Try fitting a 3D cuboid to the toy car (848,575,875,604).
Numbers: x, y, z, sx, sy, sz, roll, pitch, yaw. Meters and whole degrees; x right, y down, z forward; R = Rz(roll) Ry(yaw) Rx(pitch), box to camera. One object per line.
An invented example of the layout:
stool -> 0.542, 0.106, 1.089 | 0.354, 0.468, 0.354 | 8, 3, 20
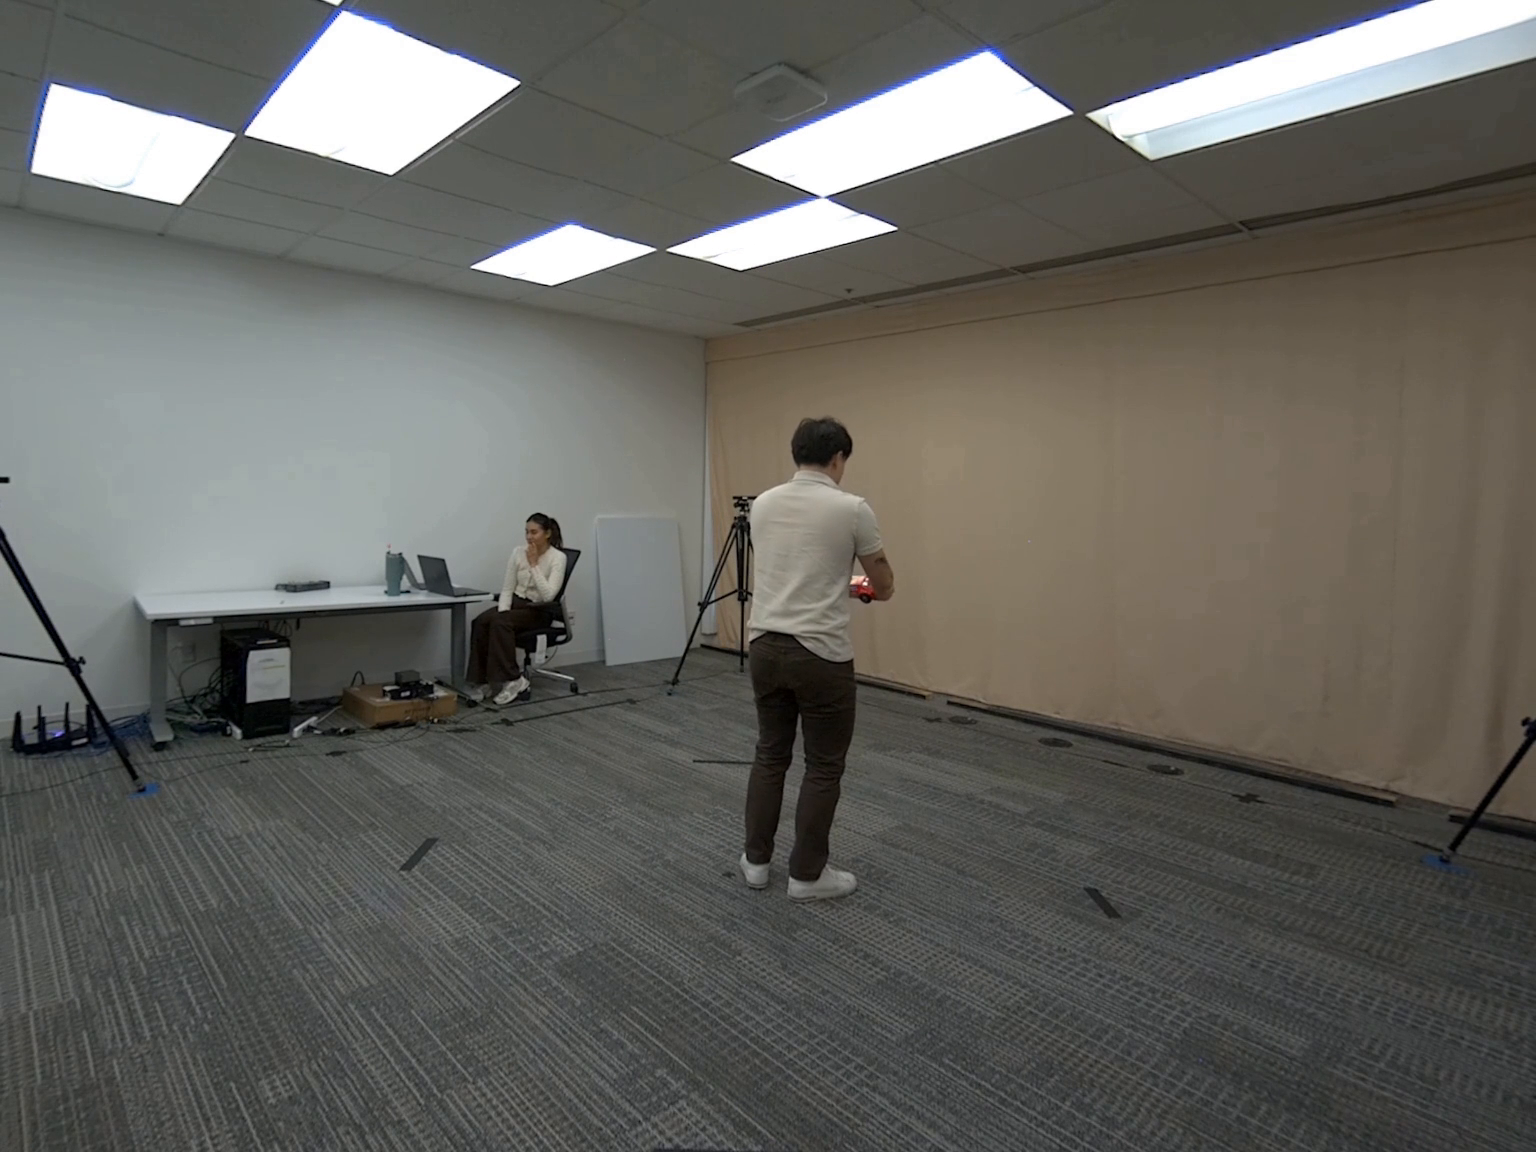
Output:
toy car -> 0.353, 0.046, 3.329 | 0.260, 0.082, 0.130 | -7, 26, 39
